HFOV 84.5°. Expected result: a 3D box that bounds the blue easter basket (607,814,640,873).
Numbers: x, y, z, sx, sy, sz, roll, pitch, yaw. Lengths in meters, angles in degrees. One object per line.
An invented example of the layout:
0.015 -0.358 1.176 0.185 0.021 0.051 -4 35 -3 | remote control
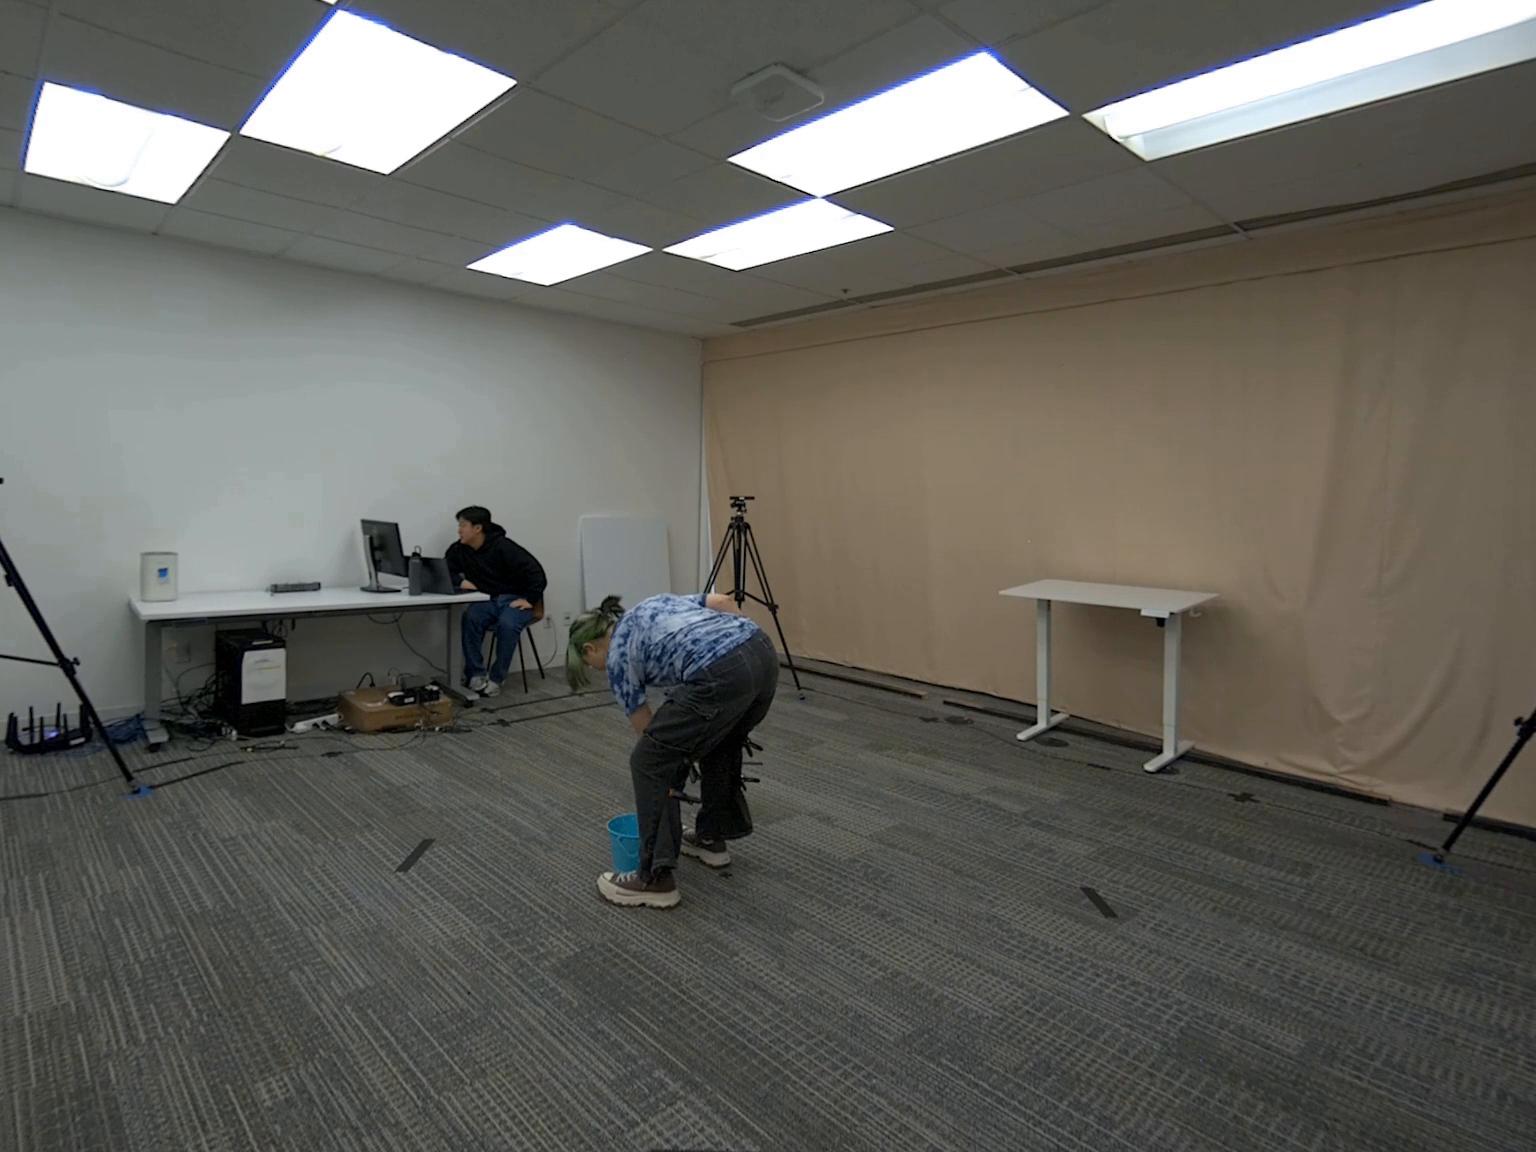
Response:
-0.496 1.016 3.169 0.243 0.155 0.244 1 4 -1 | blue easter basket
